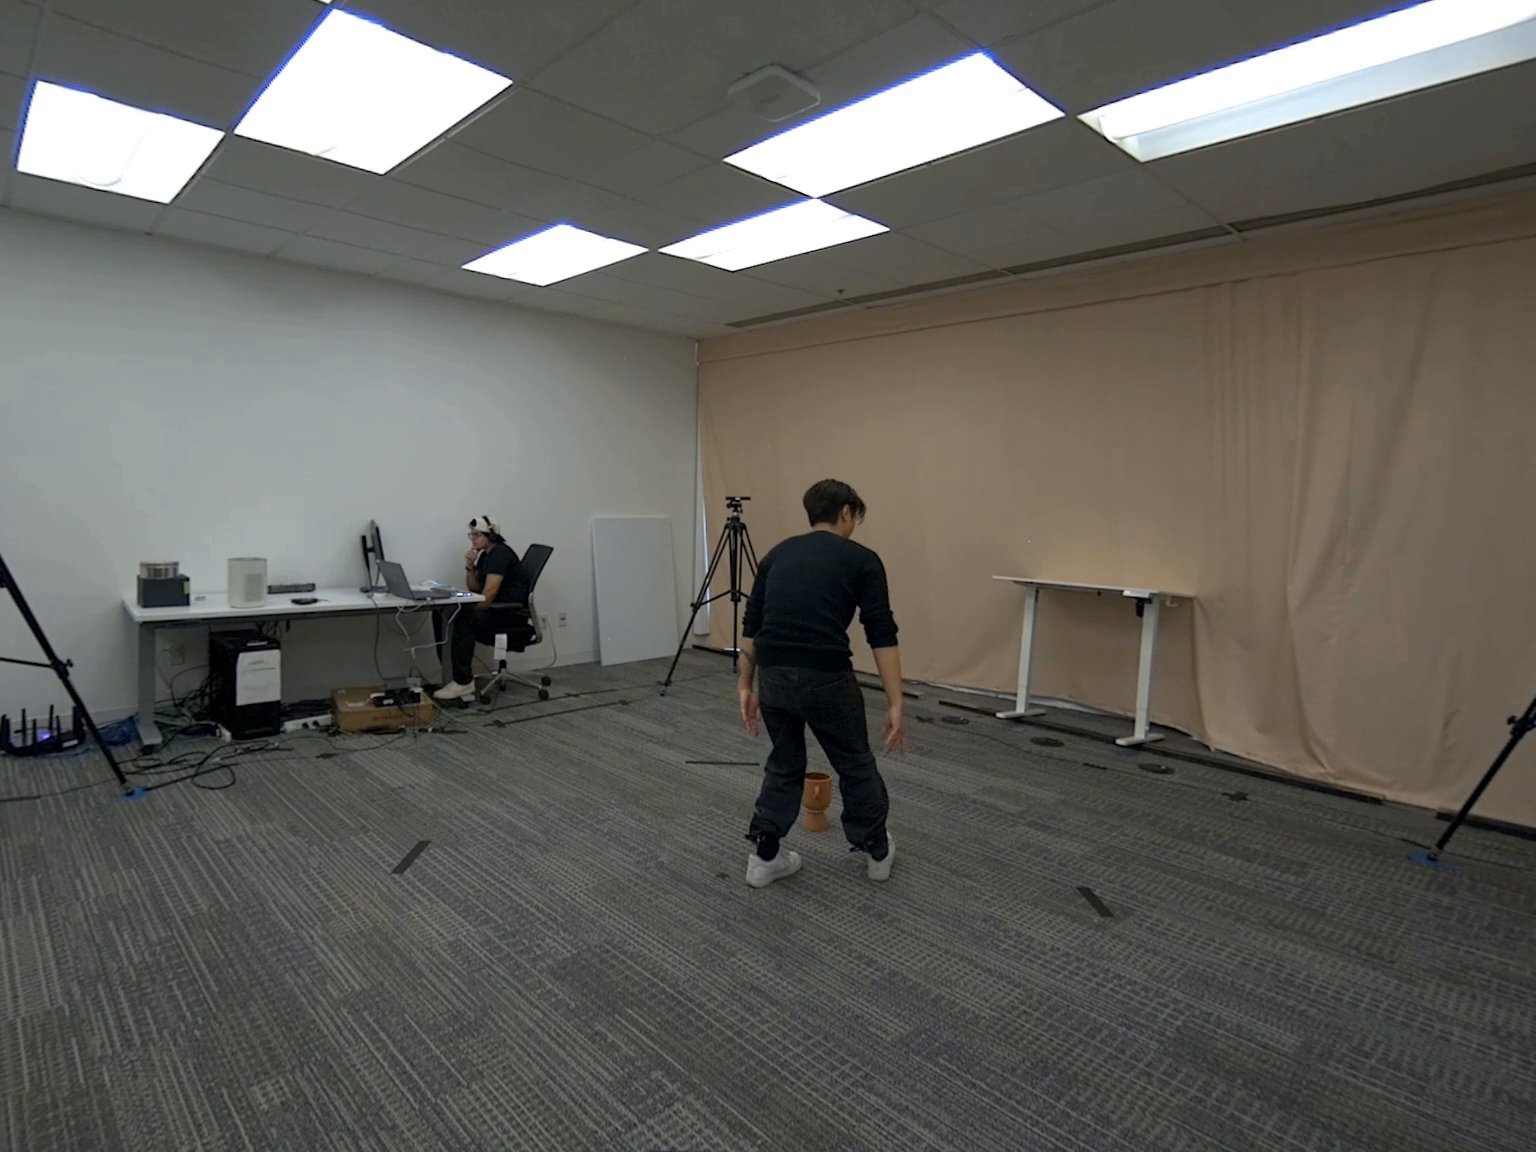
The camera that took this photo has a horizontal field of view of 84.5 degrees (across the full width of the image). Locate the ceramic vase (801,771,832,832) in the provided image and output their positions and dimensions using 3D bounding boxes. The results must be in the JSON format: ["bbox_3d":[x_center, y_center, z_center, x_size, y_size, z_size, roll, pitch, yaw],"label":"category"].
[{"bbox_3d":[0.194,0.960,3.592,0.138,0.219,0.155,5,4,41],"label":"ceramic vase"}]
